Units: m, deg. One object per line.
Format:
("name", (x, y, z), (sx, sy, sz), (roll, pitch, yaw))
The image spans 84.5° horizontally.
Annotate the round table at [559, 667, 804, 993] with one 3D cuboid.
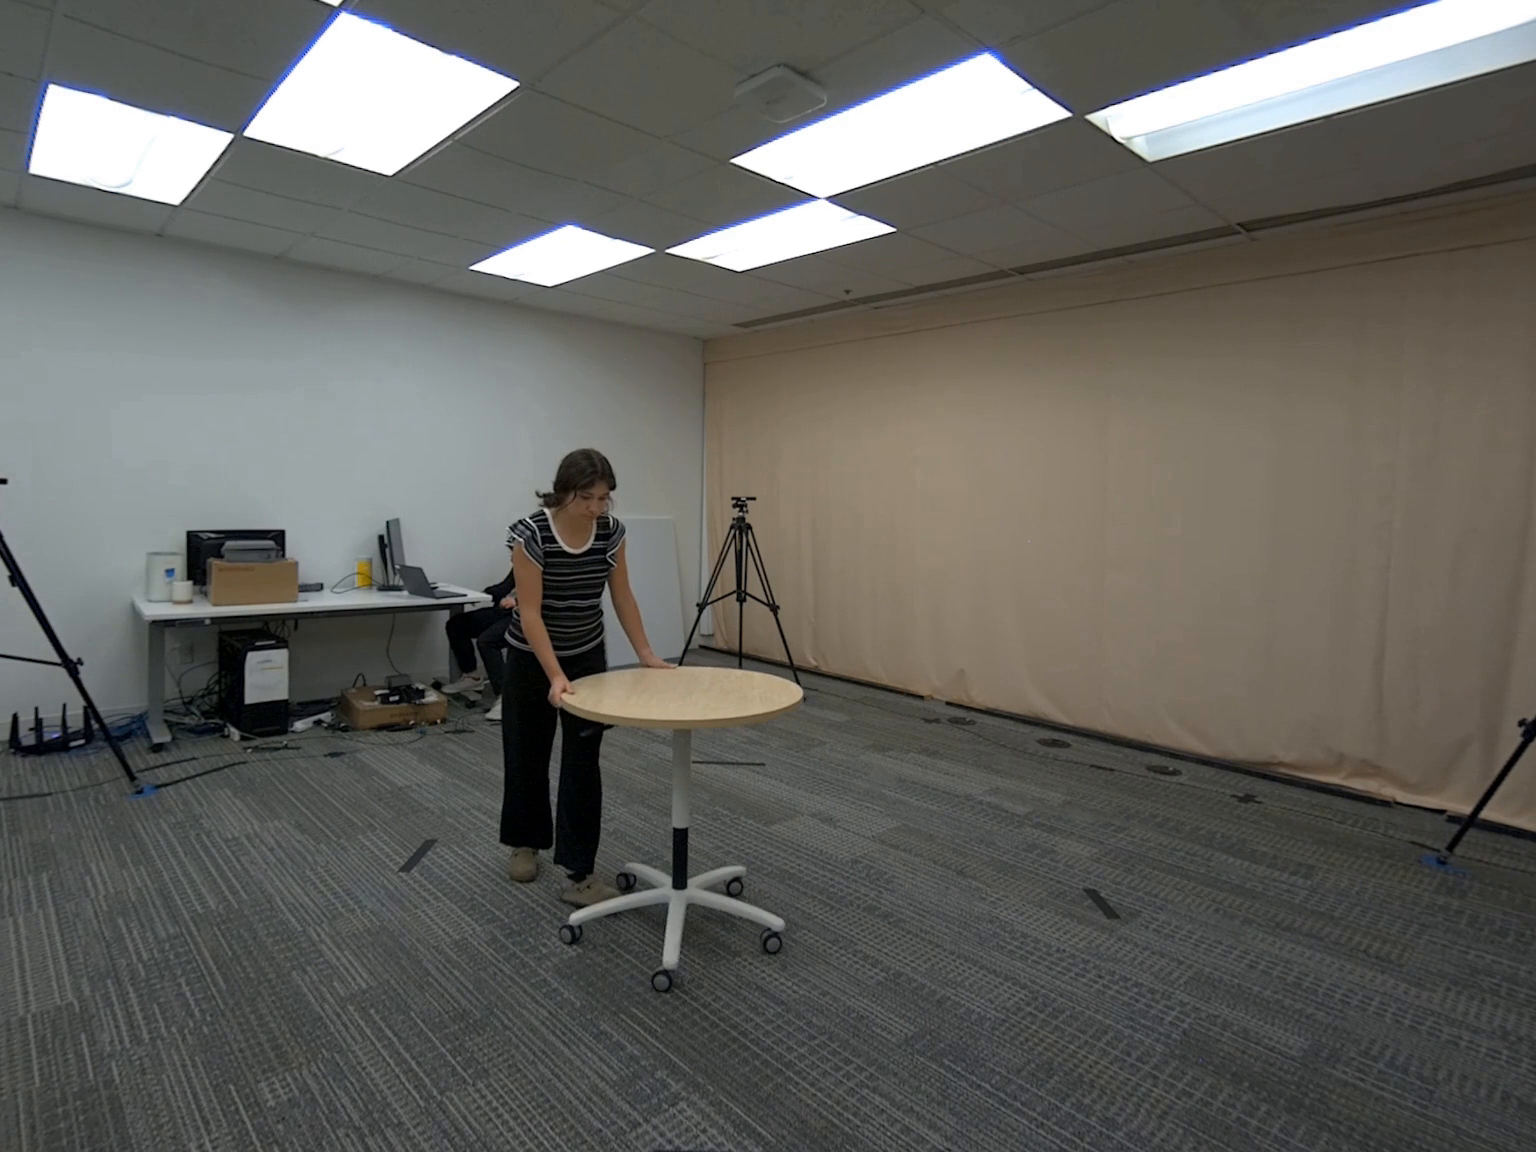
("round table", (-0.282, 0.753, 2.686), (0.763, 0.792, 0.766), (1, 4, -1))
